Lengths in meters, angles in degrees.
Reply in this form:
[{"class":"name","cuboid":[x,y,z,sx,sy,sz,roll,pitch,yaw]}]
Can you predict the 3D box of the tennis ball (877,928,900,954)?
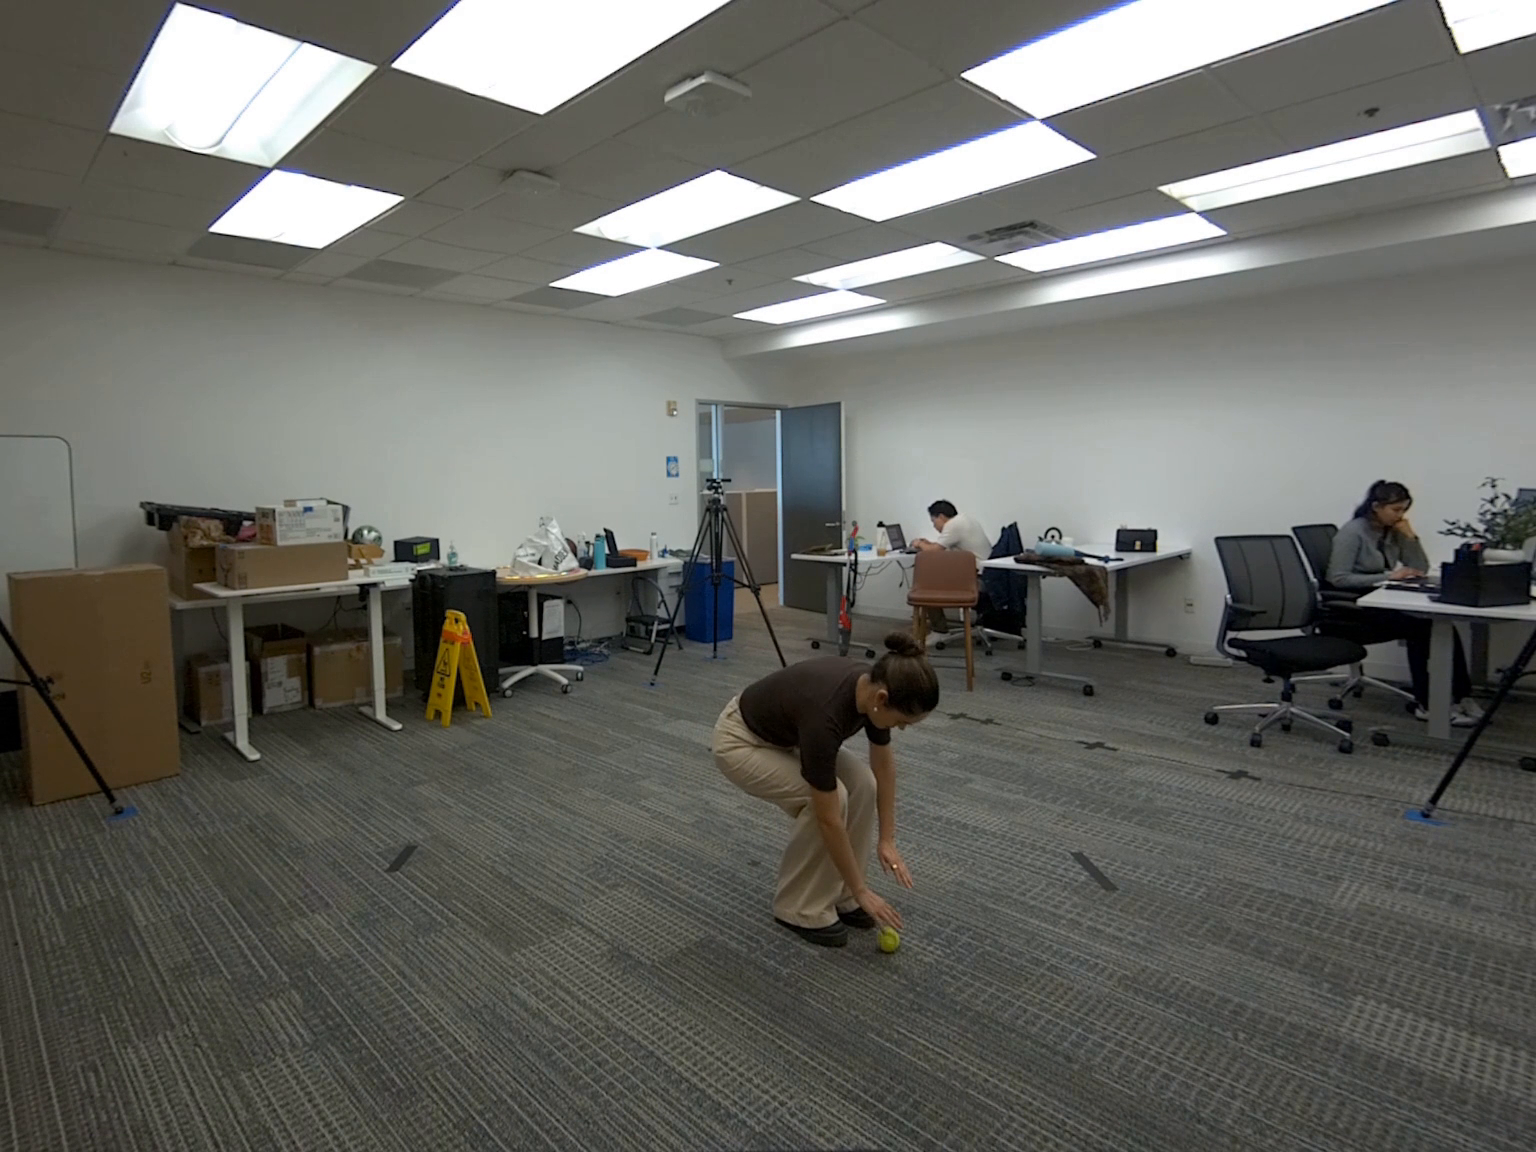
[{"class":"tennis ball","cuboid":[0.359,1.046,2.532,0.066,0.066,0.067,-1,5,-2]}]
